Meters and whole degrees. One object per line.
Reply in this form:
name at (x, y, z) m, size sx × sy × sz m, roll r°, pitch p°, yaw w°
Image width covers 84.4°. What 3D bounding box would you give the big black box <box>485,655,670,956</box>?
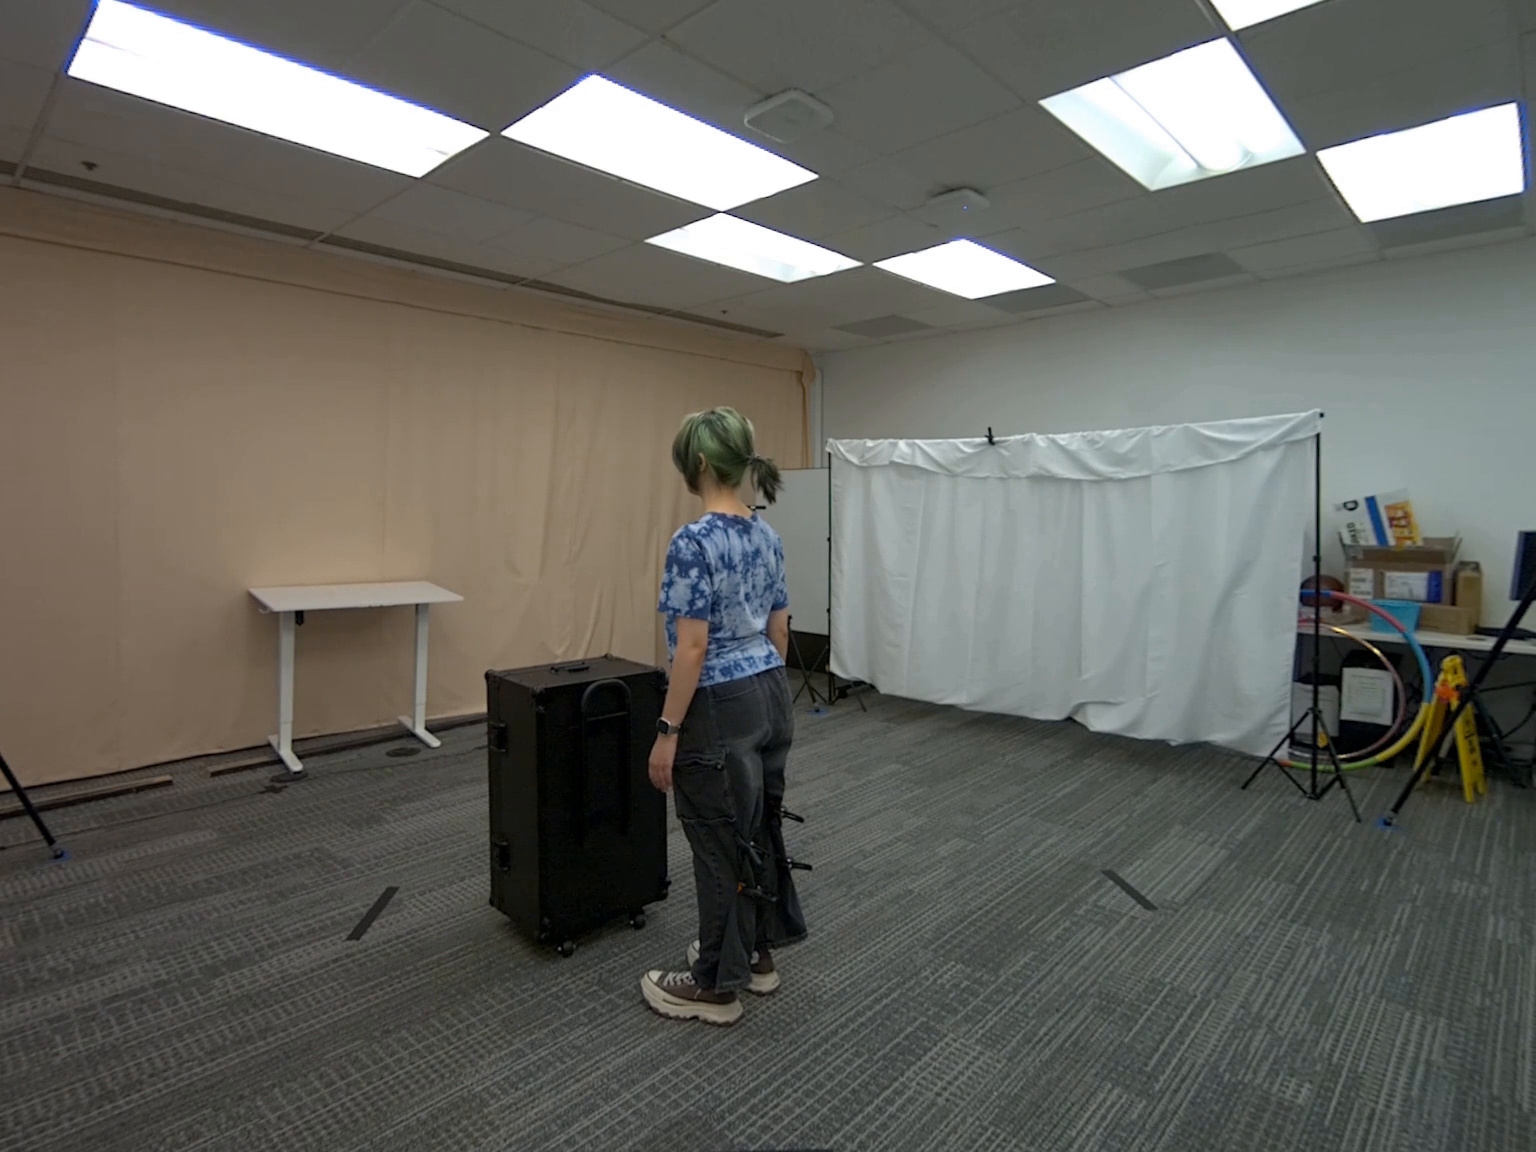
big black box at (-0.623, 0.737, 2.800) m, size 0.505 × 0.859 × 0.409 m, roll -3°, pitch 4°, yaw -41°
